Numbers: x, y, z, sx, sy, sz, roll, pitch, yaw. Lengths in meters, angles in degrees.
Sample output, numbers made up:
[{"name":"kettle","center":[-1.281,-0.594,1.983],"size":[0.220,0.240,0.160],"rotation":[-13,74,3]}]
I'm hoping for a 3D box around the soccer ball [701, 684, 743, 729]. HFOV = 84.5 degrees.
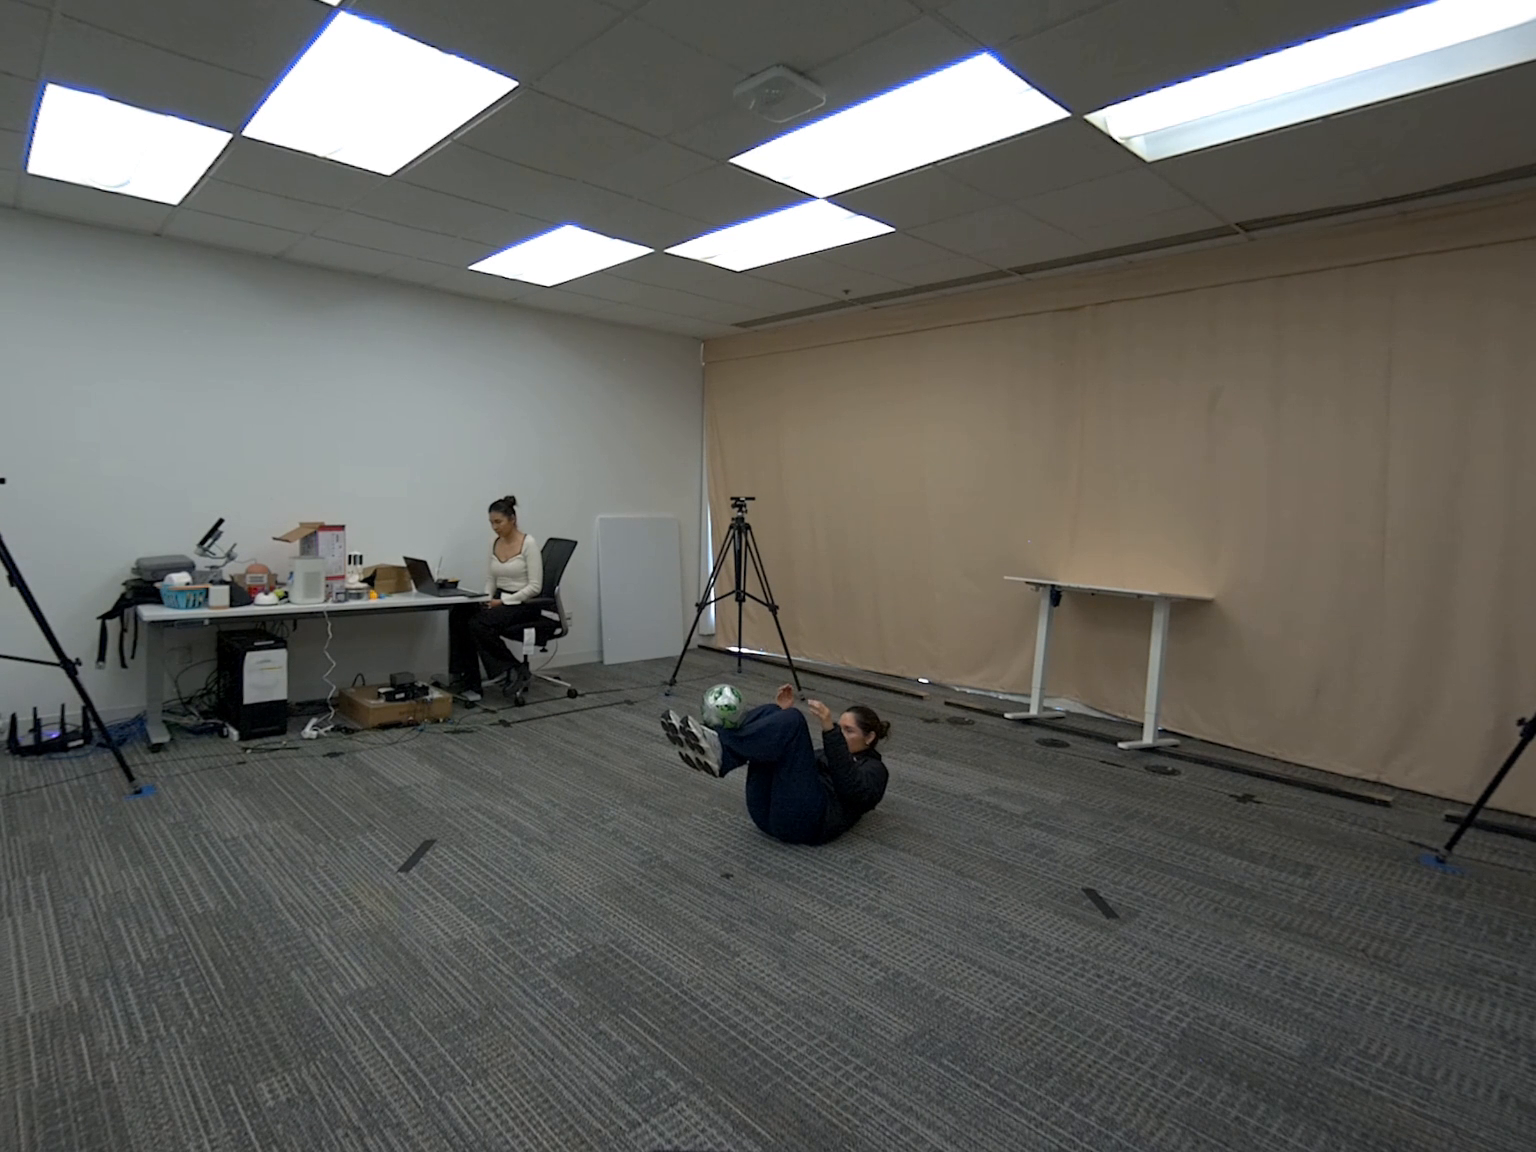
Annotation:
[{"name":"soccer ball","center":[-0.178,0.519,3.275],"size":[0.187,0.186,0.188],"rotation":[0,7,-1]}]
